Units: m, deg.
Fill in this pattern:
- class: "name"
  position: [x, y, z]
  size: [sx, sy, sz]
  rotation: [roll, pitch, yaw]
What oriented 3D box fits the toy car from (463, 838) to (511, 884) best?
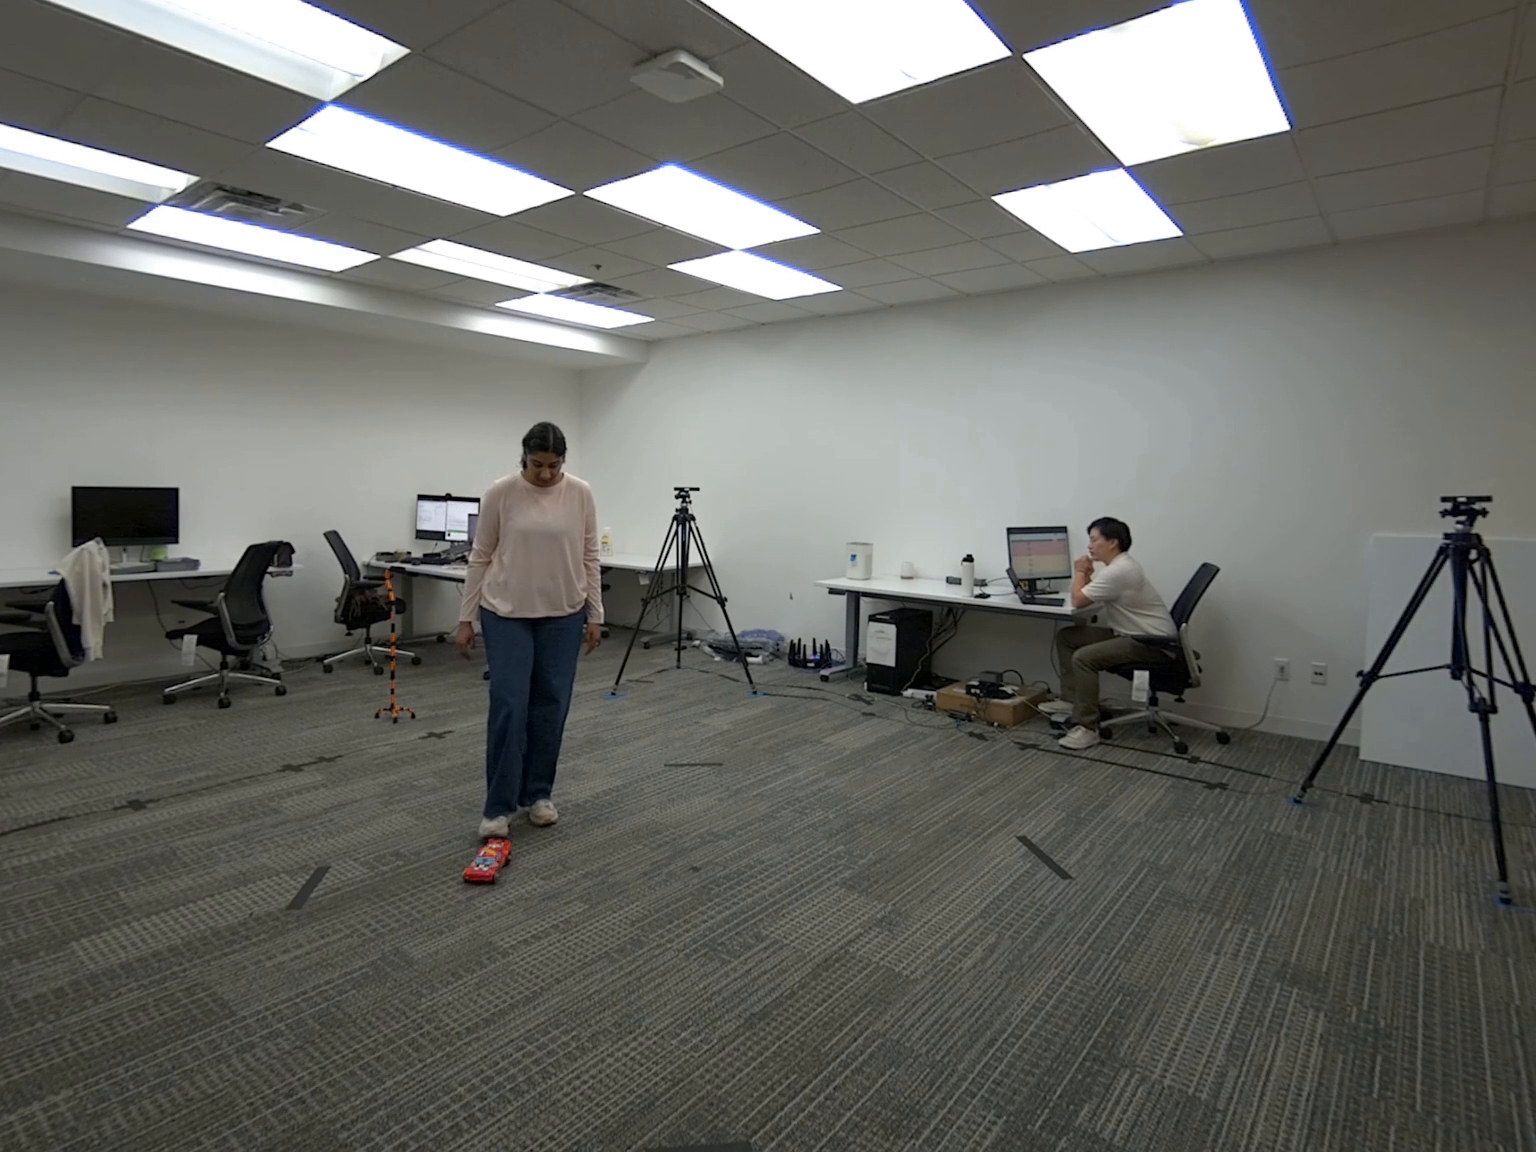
- class: "toy car"
  position: [-1.021, 1.029, 3.066]
  size: [0.130, 0.082, 0.258]
  rotation: [0, 18, 0]
